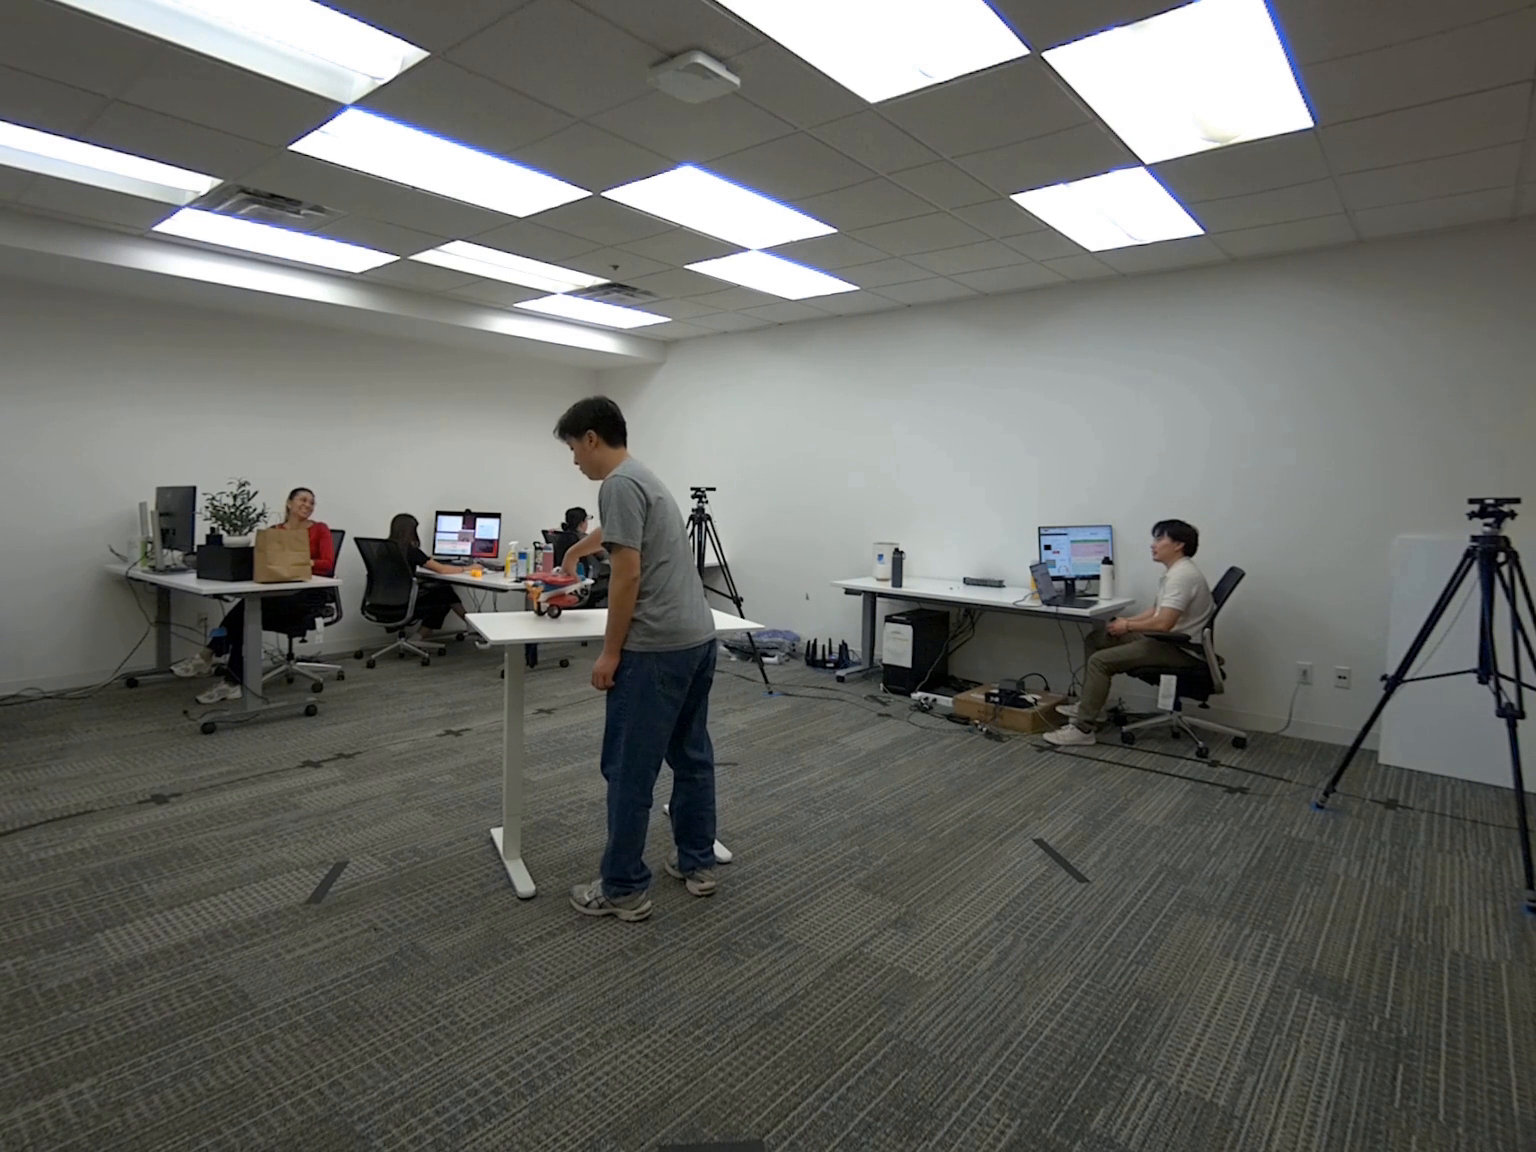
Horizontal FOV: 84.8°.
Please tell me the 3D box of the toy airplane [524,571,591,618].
[{"bbox_3d":[-0.834,0.047,3.310,0.254,0.153,0.262,-8,24,13],"label":"toy airplane"}]
